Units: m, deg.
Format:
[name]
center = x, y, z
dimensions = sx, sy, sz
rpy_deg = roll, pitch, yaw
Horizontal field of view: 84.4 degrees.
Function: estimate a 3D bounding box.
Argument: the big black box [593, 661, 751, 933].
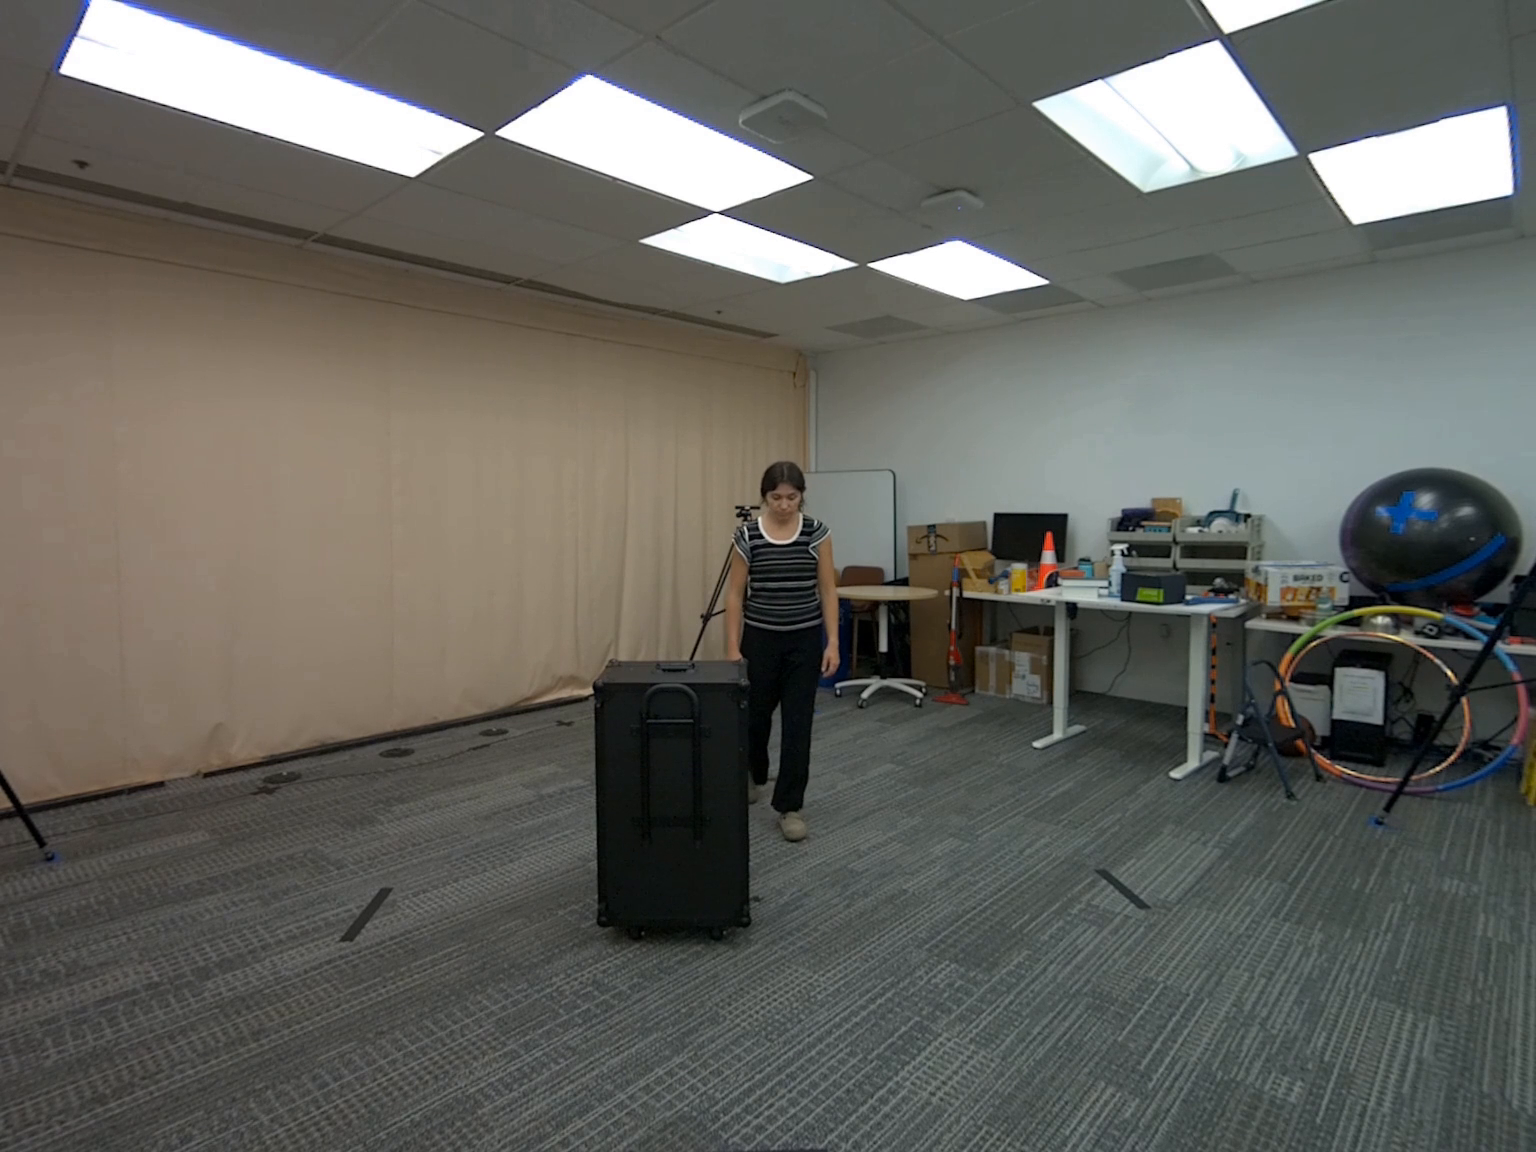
[big black box]
center = -0.304, 0.740, 2.790
dimensions = 0.522, 0.859, 0.397
rpy_deg = 0, 4, 0
